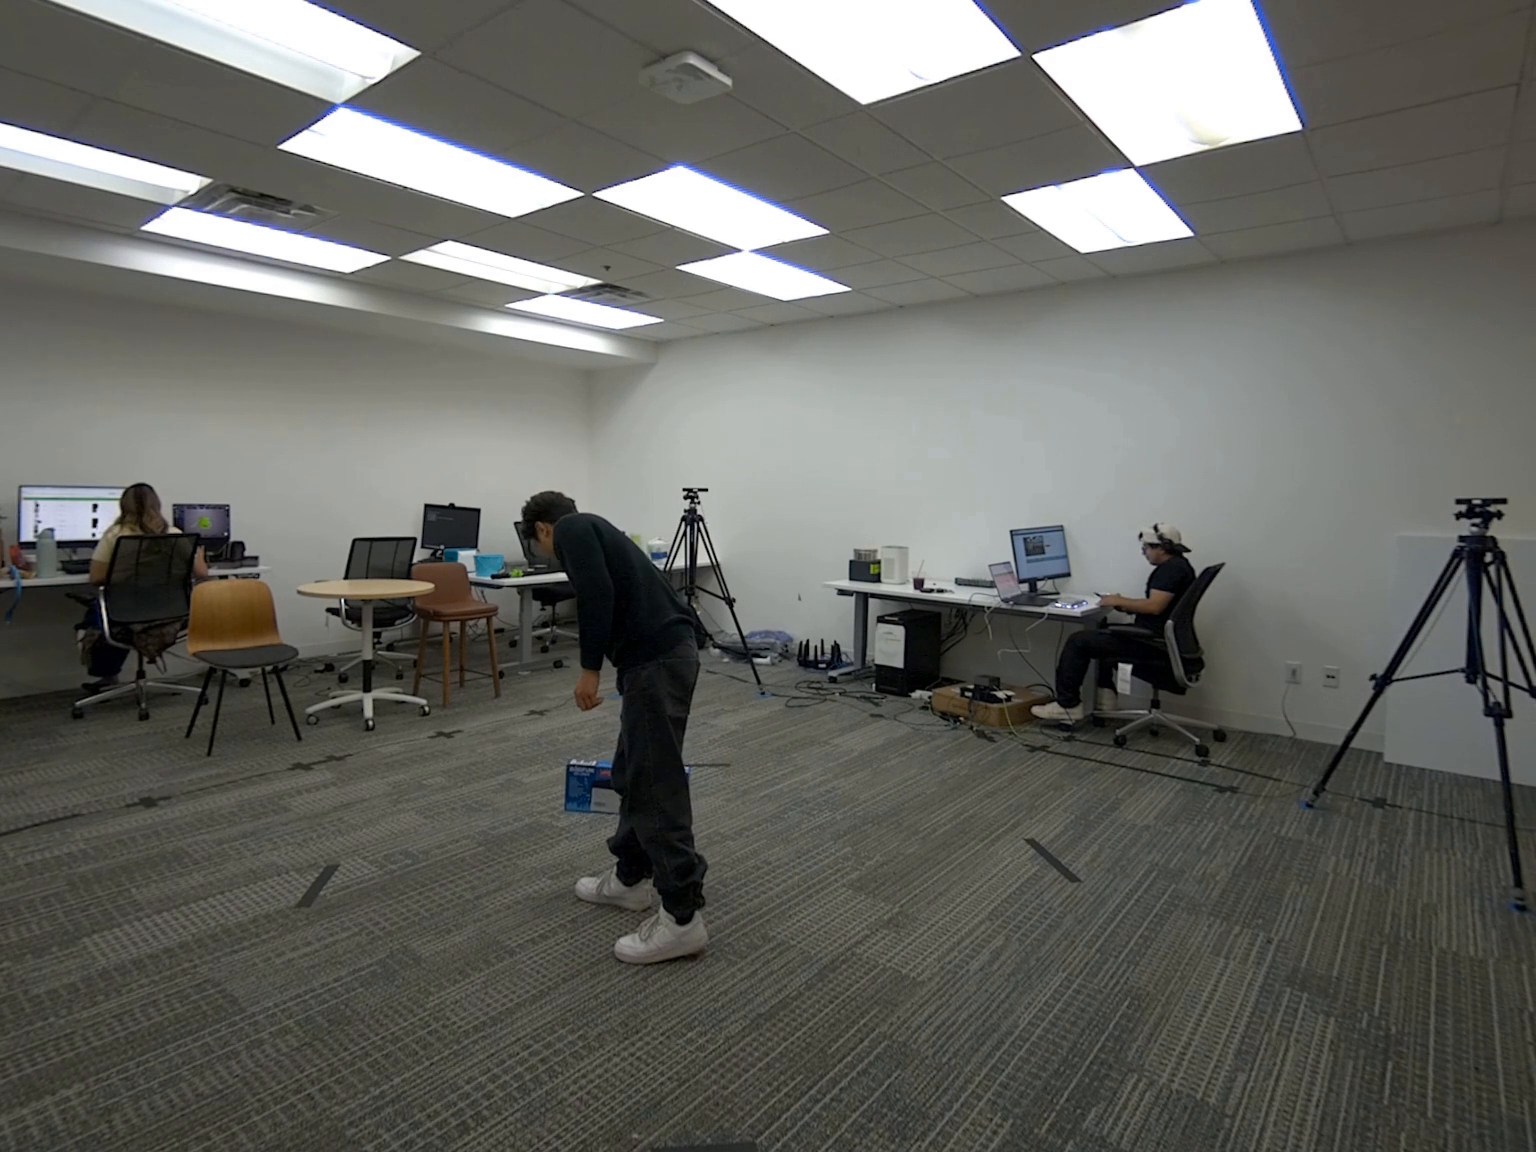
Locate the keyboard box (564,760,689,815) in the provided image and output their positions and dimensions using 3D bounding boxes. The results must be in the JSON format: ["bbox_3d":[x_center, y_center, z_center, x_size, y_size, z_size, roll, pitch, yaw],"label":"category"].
[{"bbox_3d":[-0.510,0.750,3.019,0.438,0.175,0.059,2,2,3],"label":"keyboard box"}]
